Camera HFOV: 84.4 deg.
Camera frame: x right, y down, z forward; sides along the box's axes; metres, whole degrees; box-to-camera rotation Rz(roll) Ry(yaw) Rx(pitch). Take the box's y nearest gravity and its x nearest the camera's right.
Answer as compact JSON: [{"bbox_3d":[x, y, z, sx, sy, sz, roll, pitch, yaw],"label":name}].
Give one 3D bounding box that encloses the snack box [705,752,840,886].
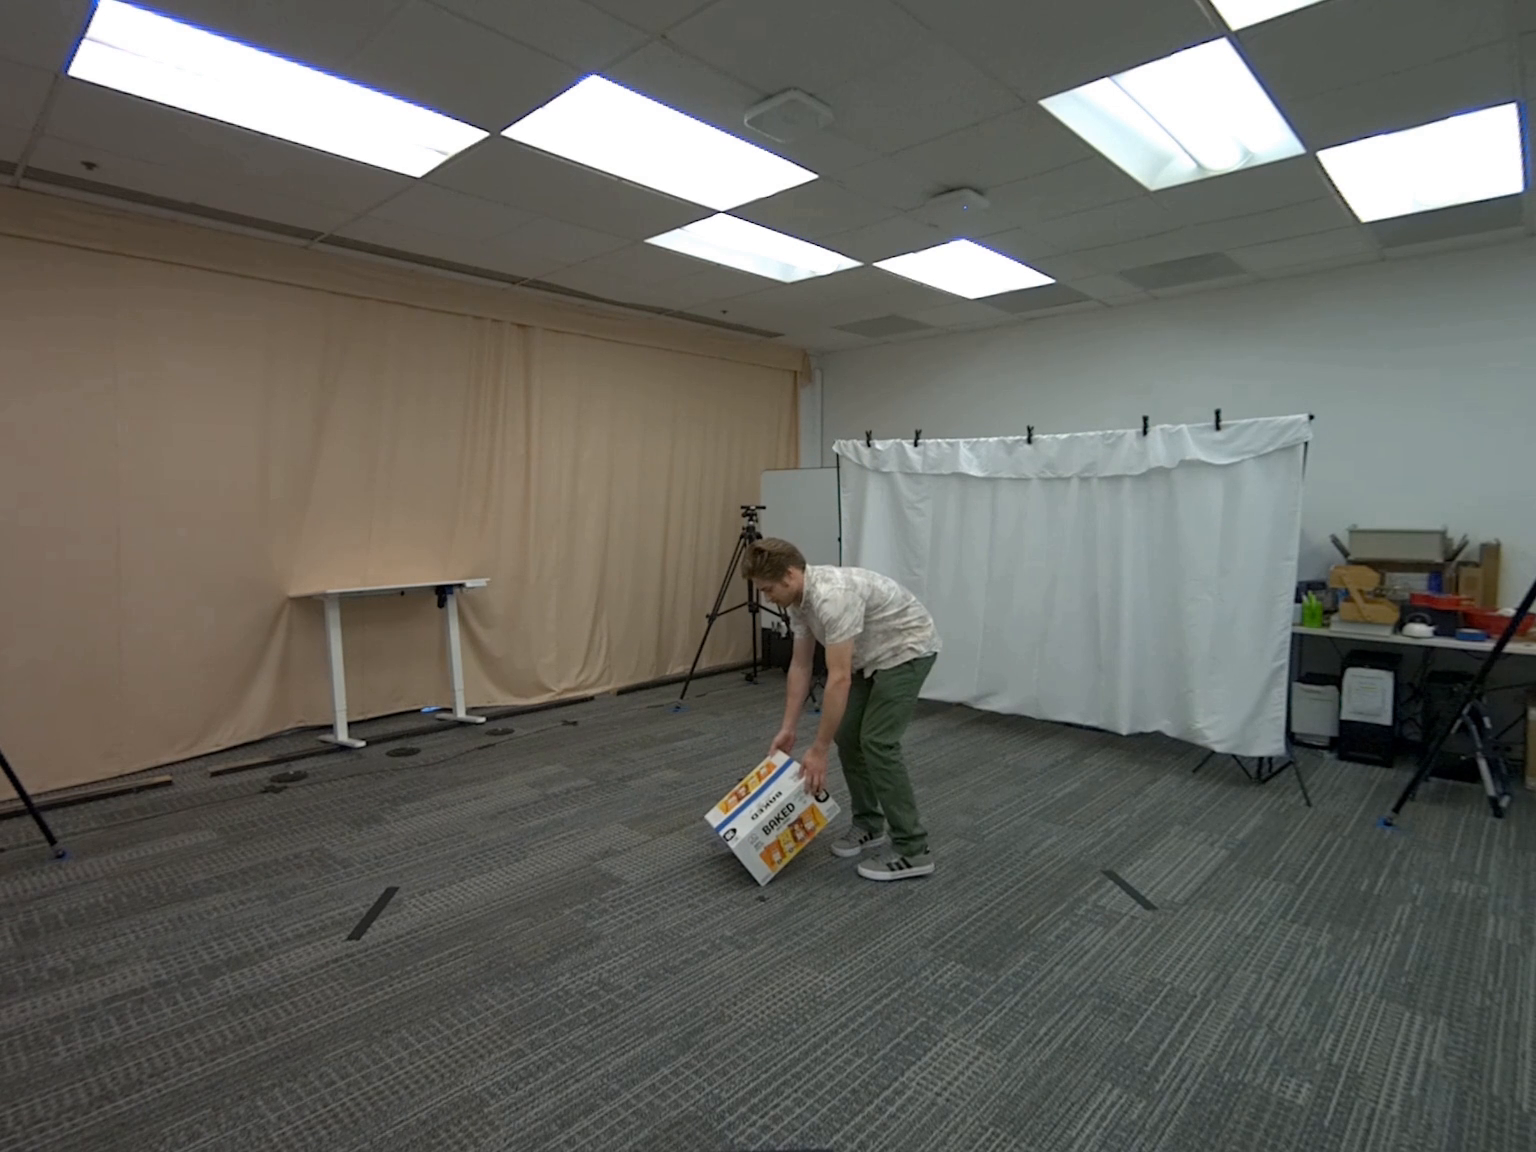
[{"bbox_3d":[0.014,0.923,3.253,0.403,0.202,0.347,-41,16,-13],"label":"snack box"}]
